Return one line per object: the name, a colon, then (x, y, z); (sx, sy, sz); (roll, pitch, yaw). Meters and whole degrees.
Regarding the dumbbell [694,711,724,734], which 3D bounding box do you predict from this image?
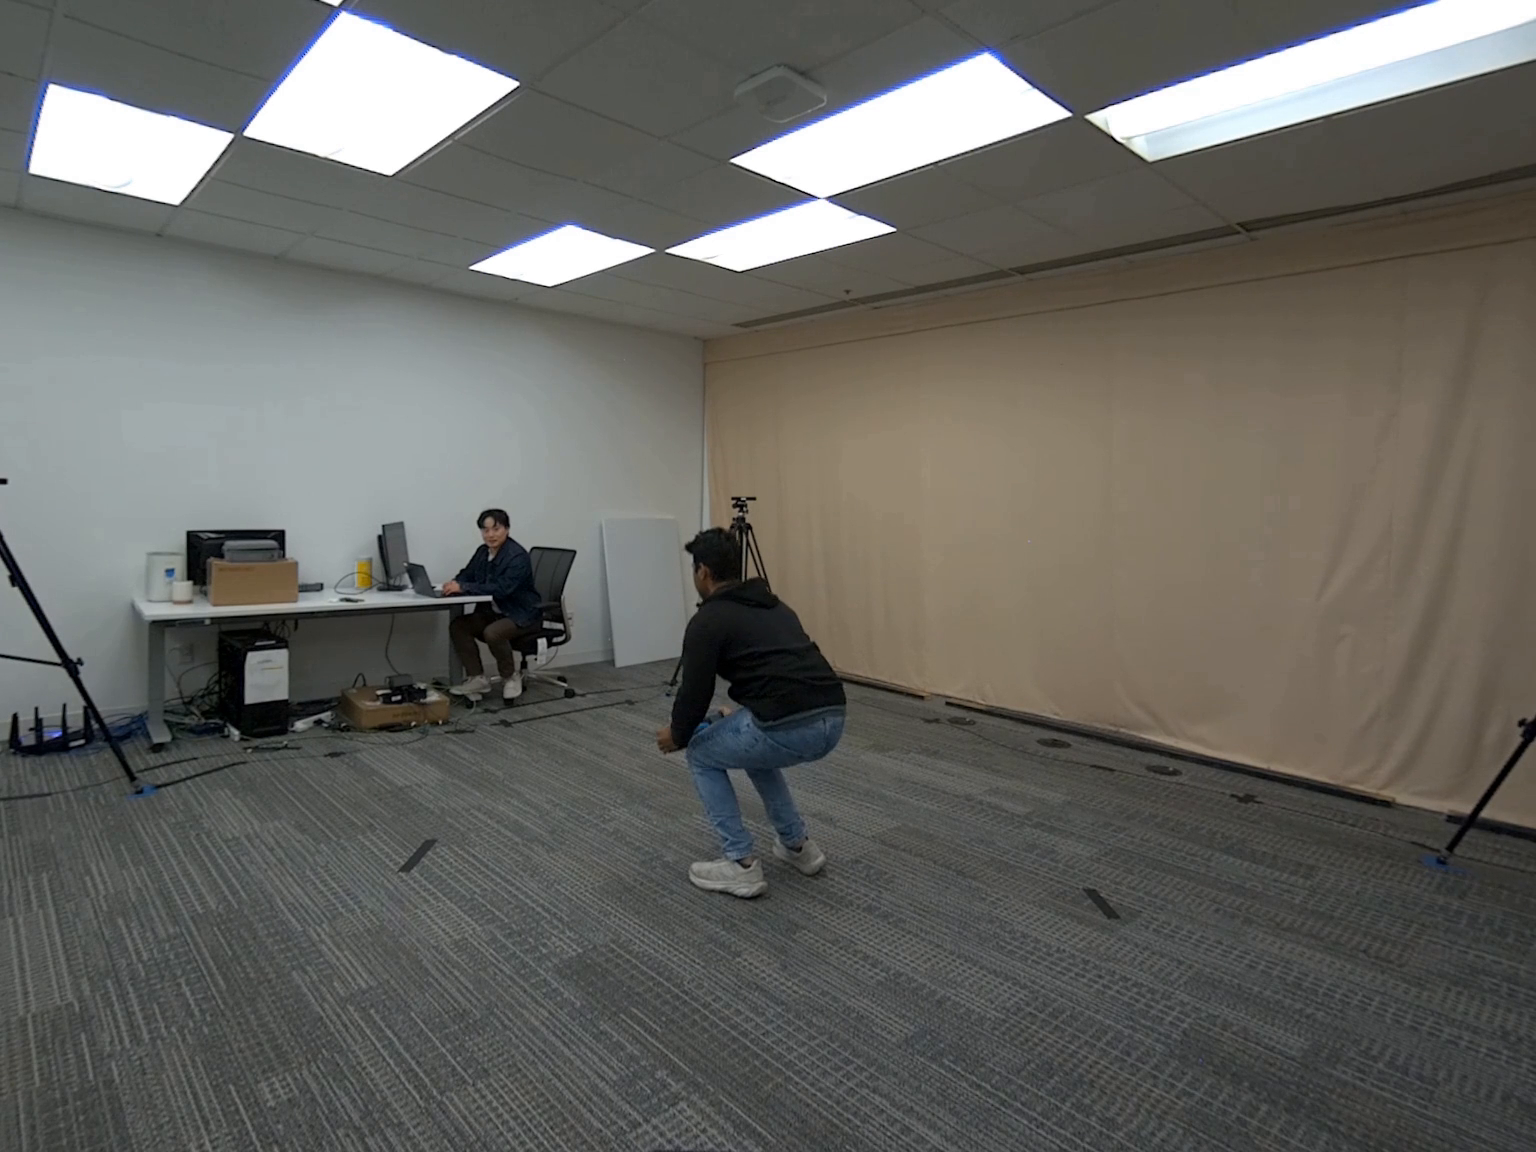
dumbbell: (-0.277, 0.624, 3.346); (0.287, 0.110, 0.124); (-3, -18, -44)
